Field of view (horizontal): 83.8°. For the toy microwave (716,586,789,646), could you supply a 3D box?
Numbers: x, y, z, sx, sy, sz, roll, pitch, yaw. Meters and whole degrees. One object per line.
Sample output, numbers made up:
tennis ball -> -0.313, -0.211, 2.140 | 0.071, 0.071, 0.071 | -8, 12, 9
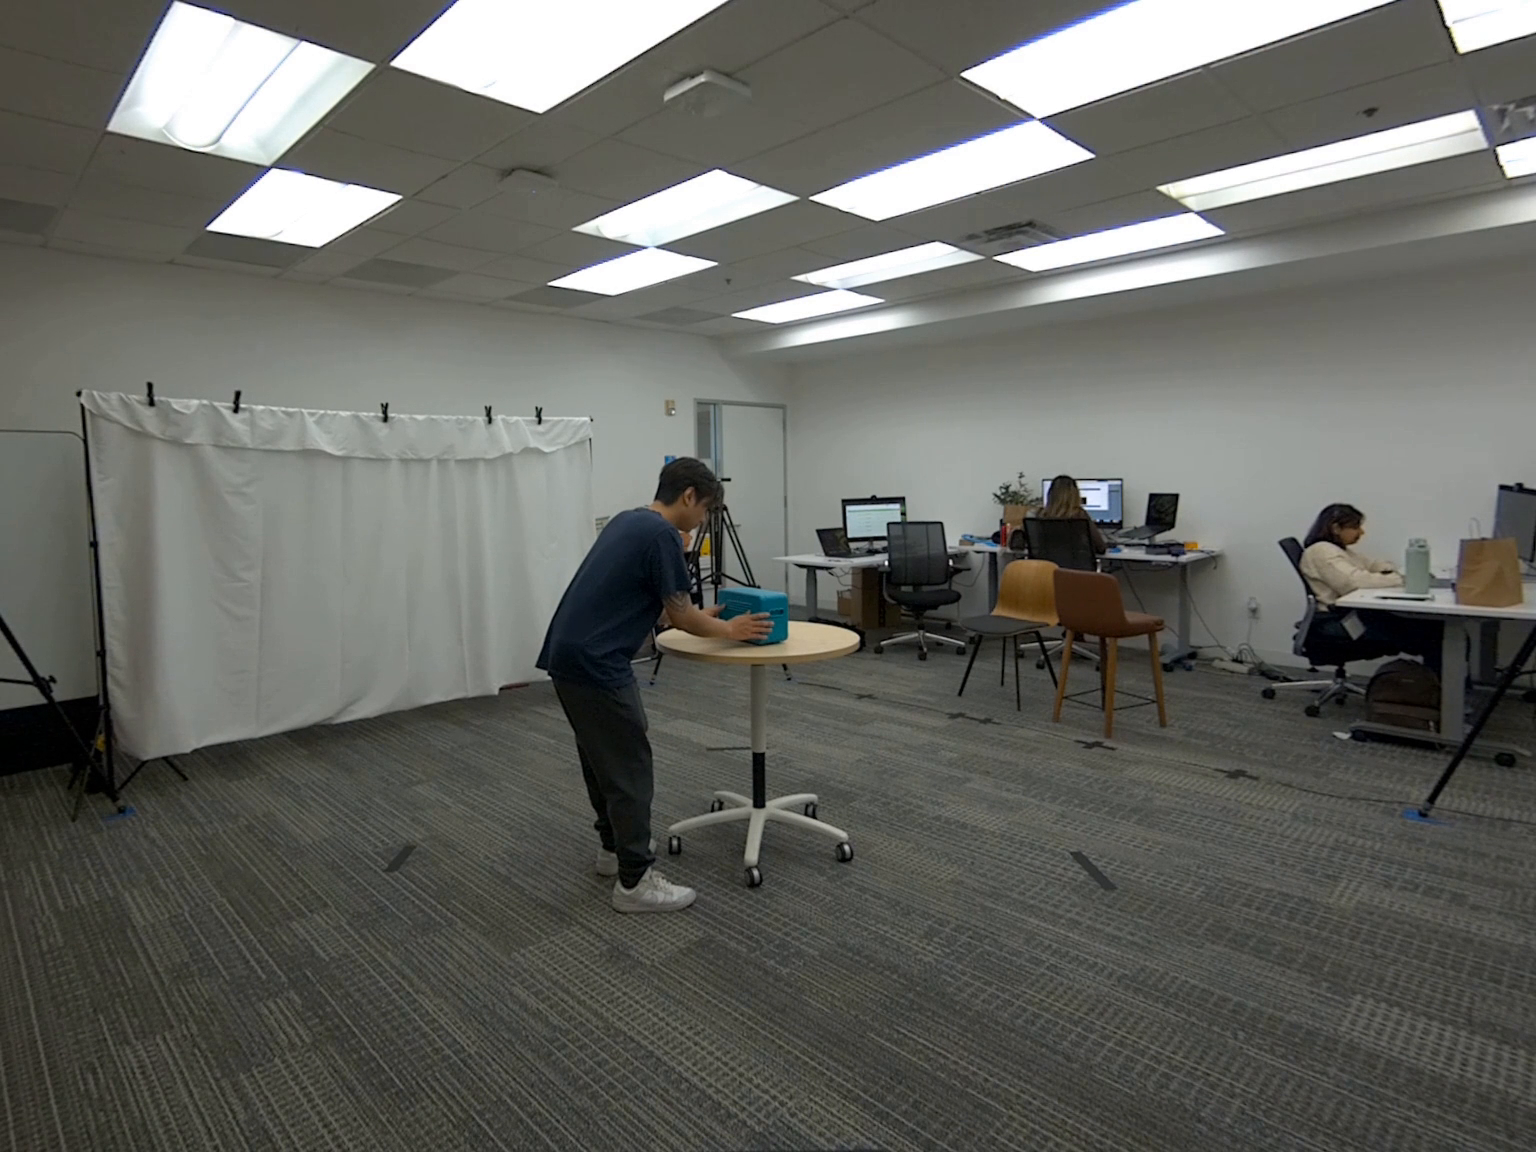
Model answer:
toy microwave -> -0.051, 0.144, 3.167 | 0.148, 0.183, 0.295 | -3, 6, -35
